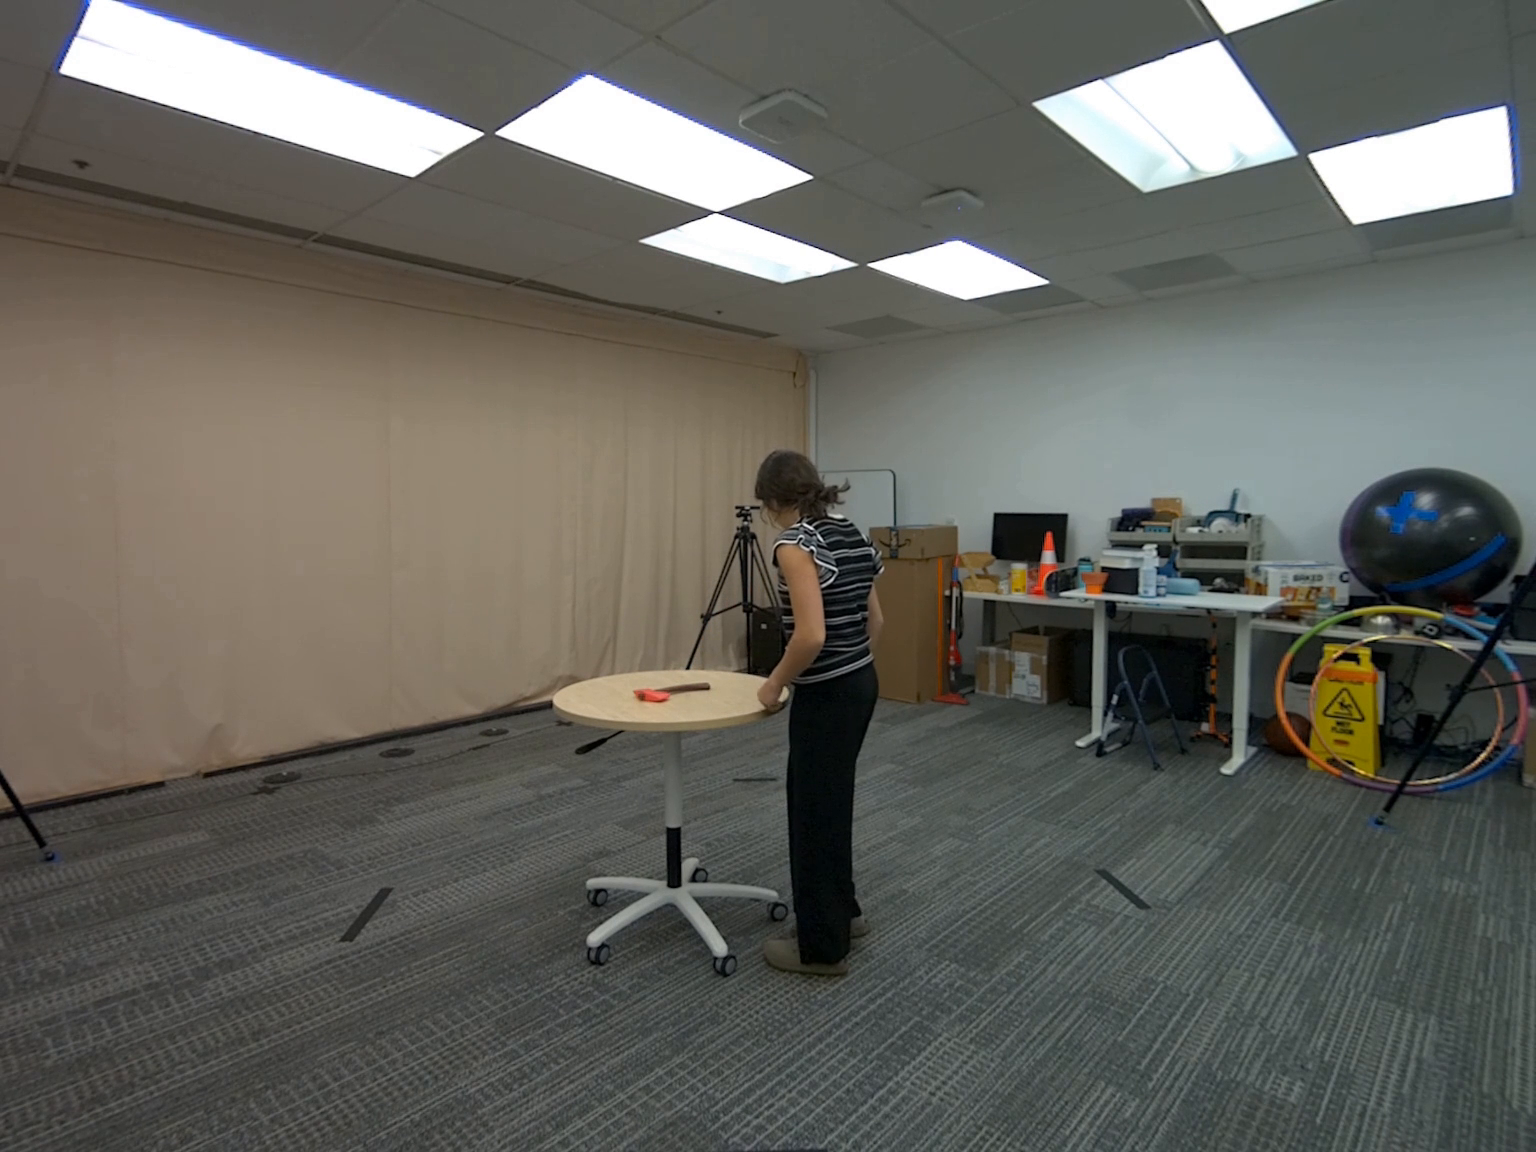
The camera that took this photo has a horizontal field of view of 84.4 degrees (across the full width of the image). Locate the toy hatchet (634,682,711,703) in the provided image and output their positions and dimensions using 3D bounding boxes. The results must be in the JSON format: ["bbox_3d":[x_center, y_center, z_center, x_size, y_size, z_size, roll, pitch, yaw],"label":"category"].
[{"bbox_3d":[-0.295,0.375,2.698,0.263,0.029,0.134,-2,4,-25],"label":"toy hatchet"}]
